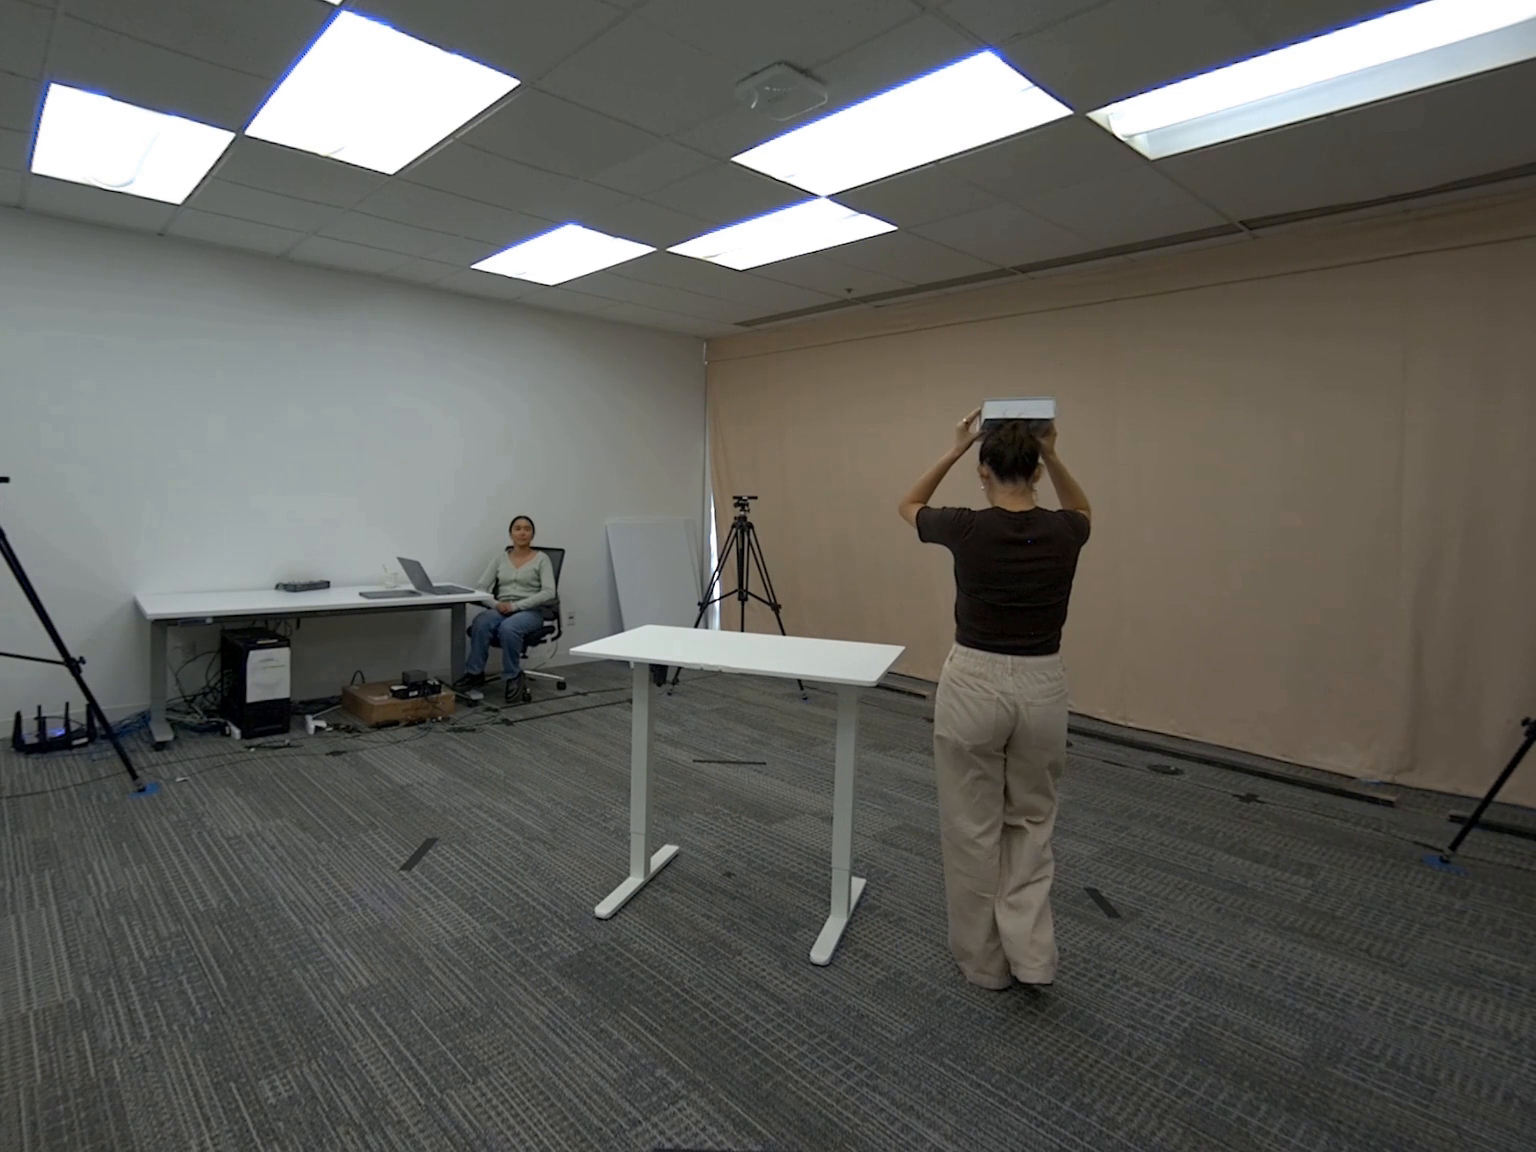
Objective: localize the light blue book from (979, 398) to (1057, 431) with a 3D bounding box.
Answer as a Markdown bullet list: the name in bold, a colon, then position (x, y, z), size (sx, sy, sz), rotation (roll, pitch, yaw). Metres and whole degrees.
- **light blue book**: position (0.702, -0.447, 2.413), size (0.193, 0.059, 0.258), rotation (1, -5, 10)
